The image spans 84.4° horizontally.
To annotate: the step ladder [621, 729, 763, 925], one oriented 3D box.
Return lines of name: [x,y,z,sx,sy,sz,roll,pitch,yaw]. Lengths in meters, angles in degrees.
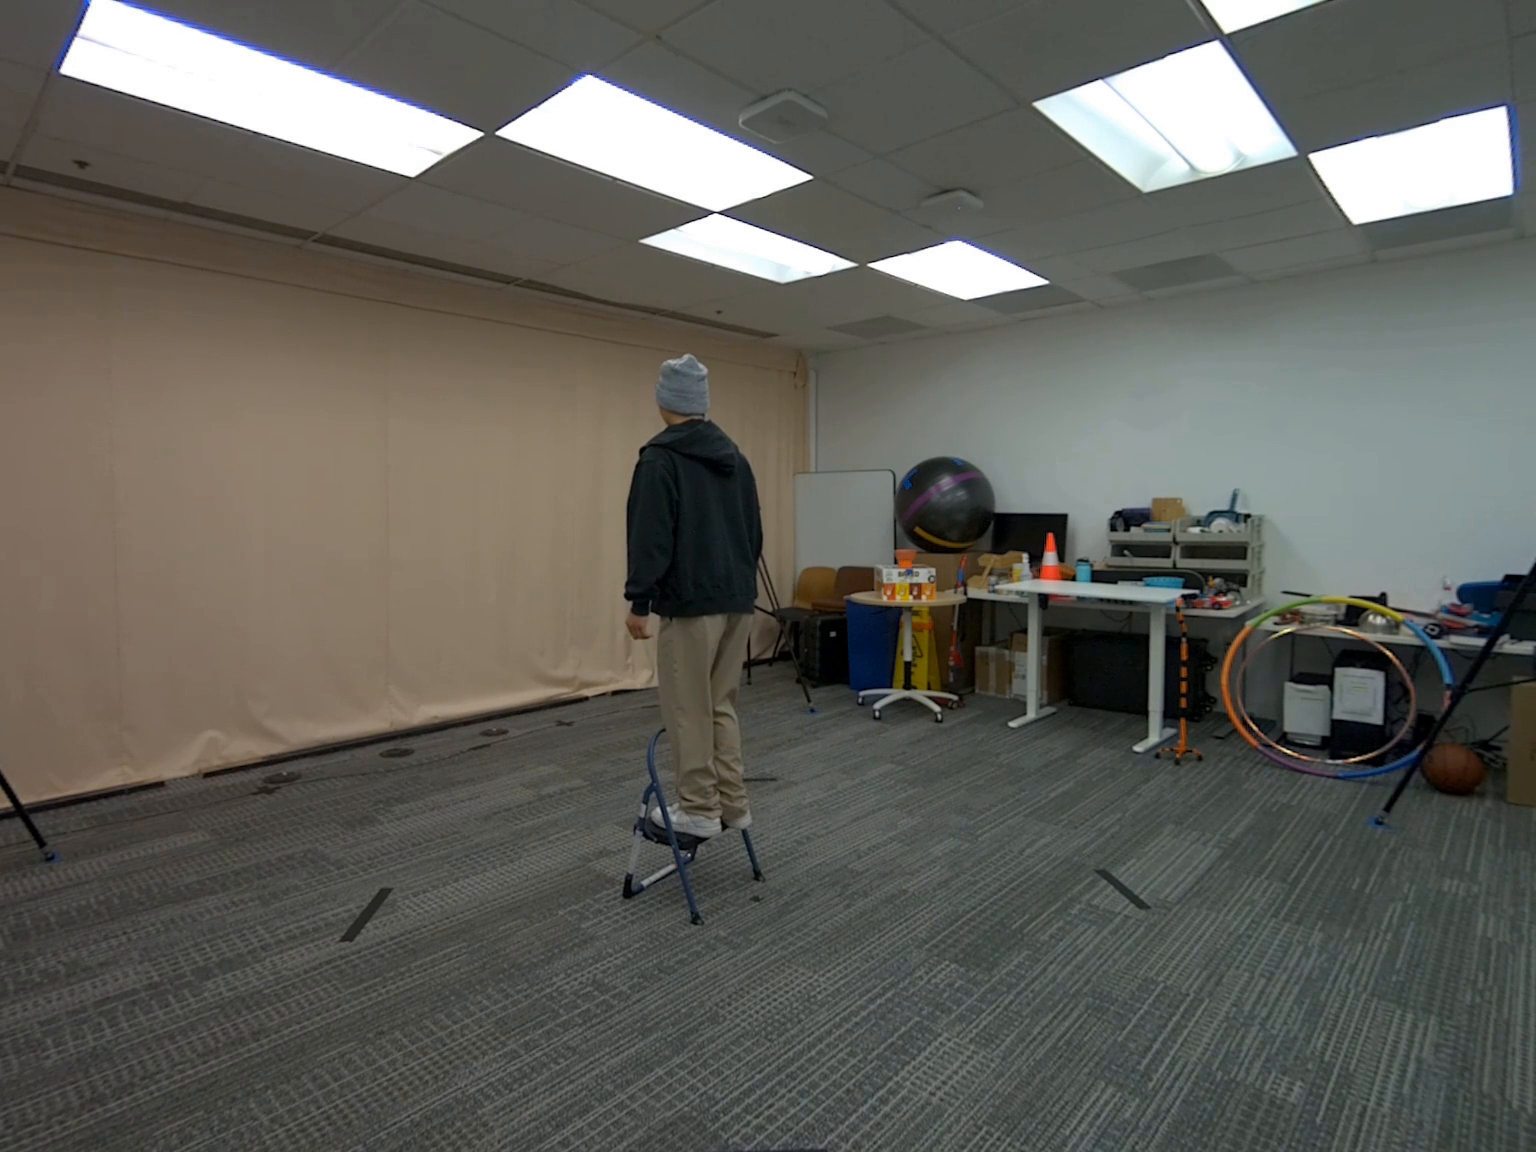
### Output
step ladder: [-0.268,0.840,3.056,0.360,0.605,0.419,1,3,32]
